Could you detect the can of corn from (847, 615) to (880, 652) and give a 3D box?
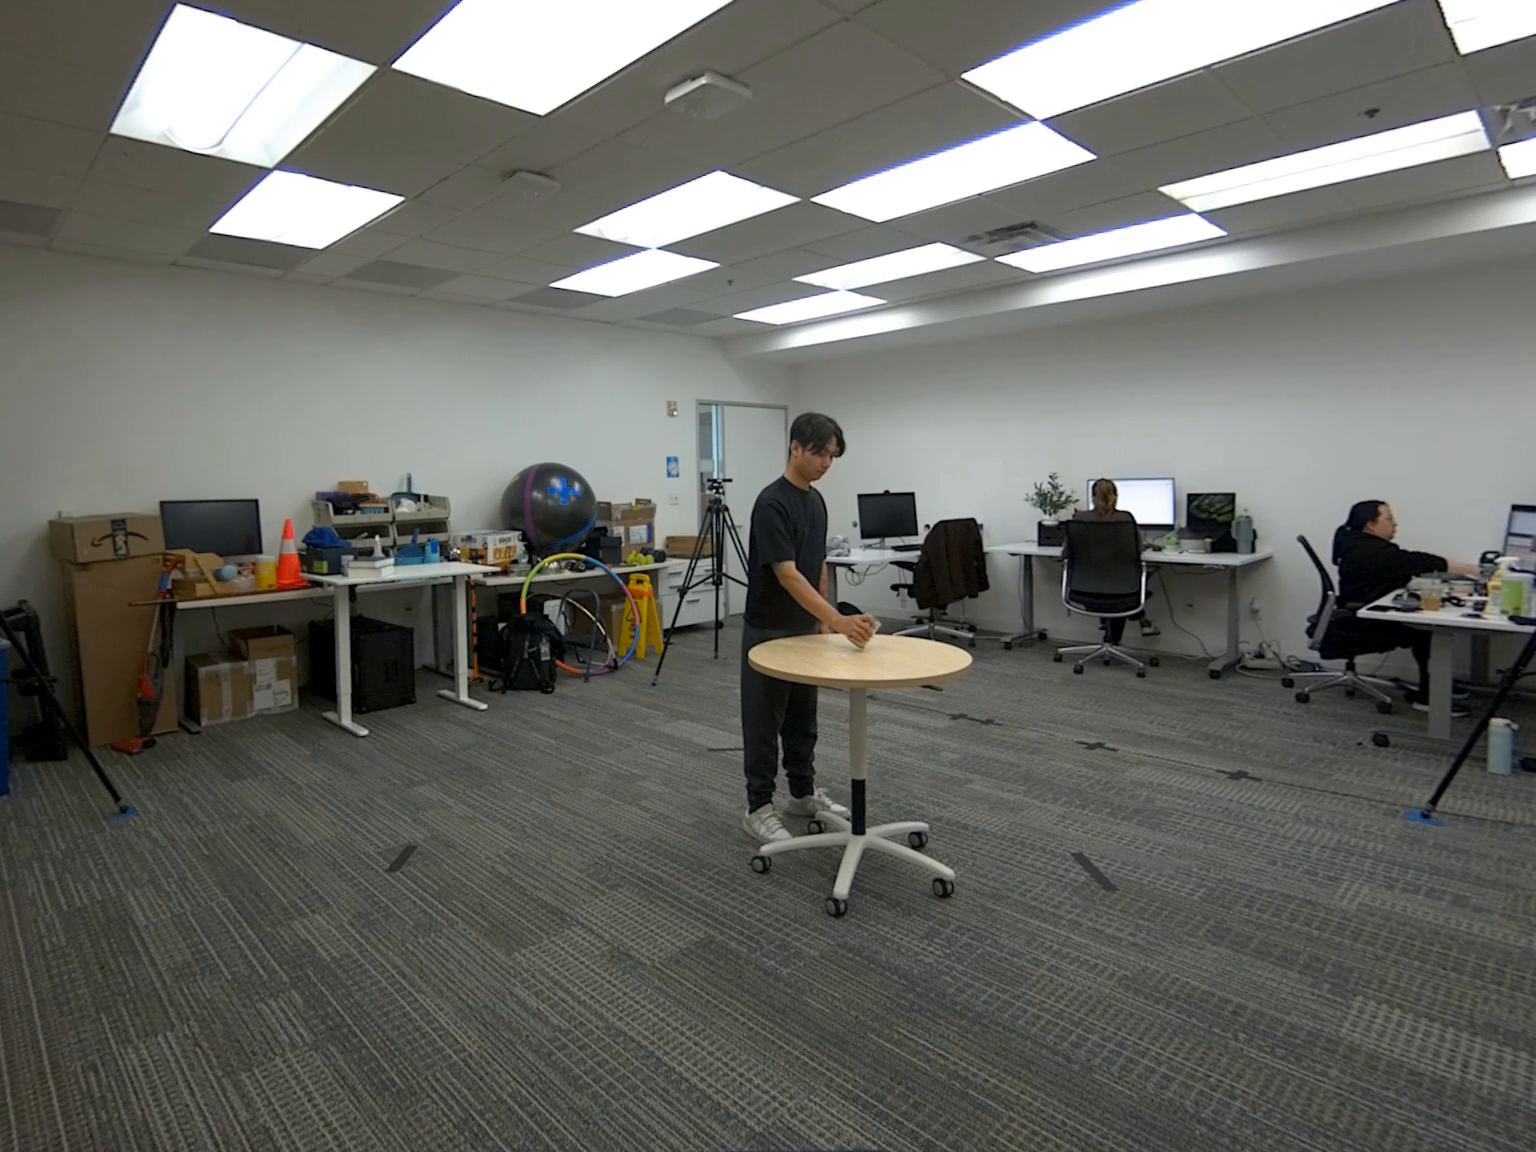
[{"bbox_3d":[0.338,0.196,3.046,0.074,0.111,0.074,32,-6,2],"label":"can of corn"}]
